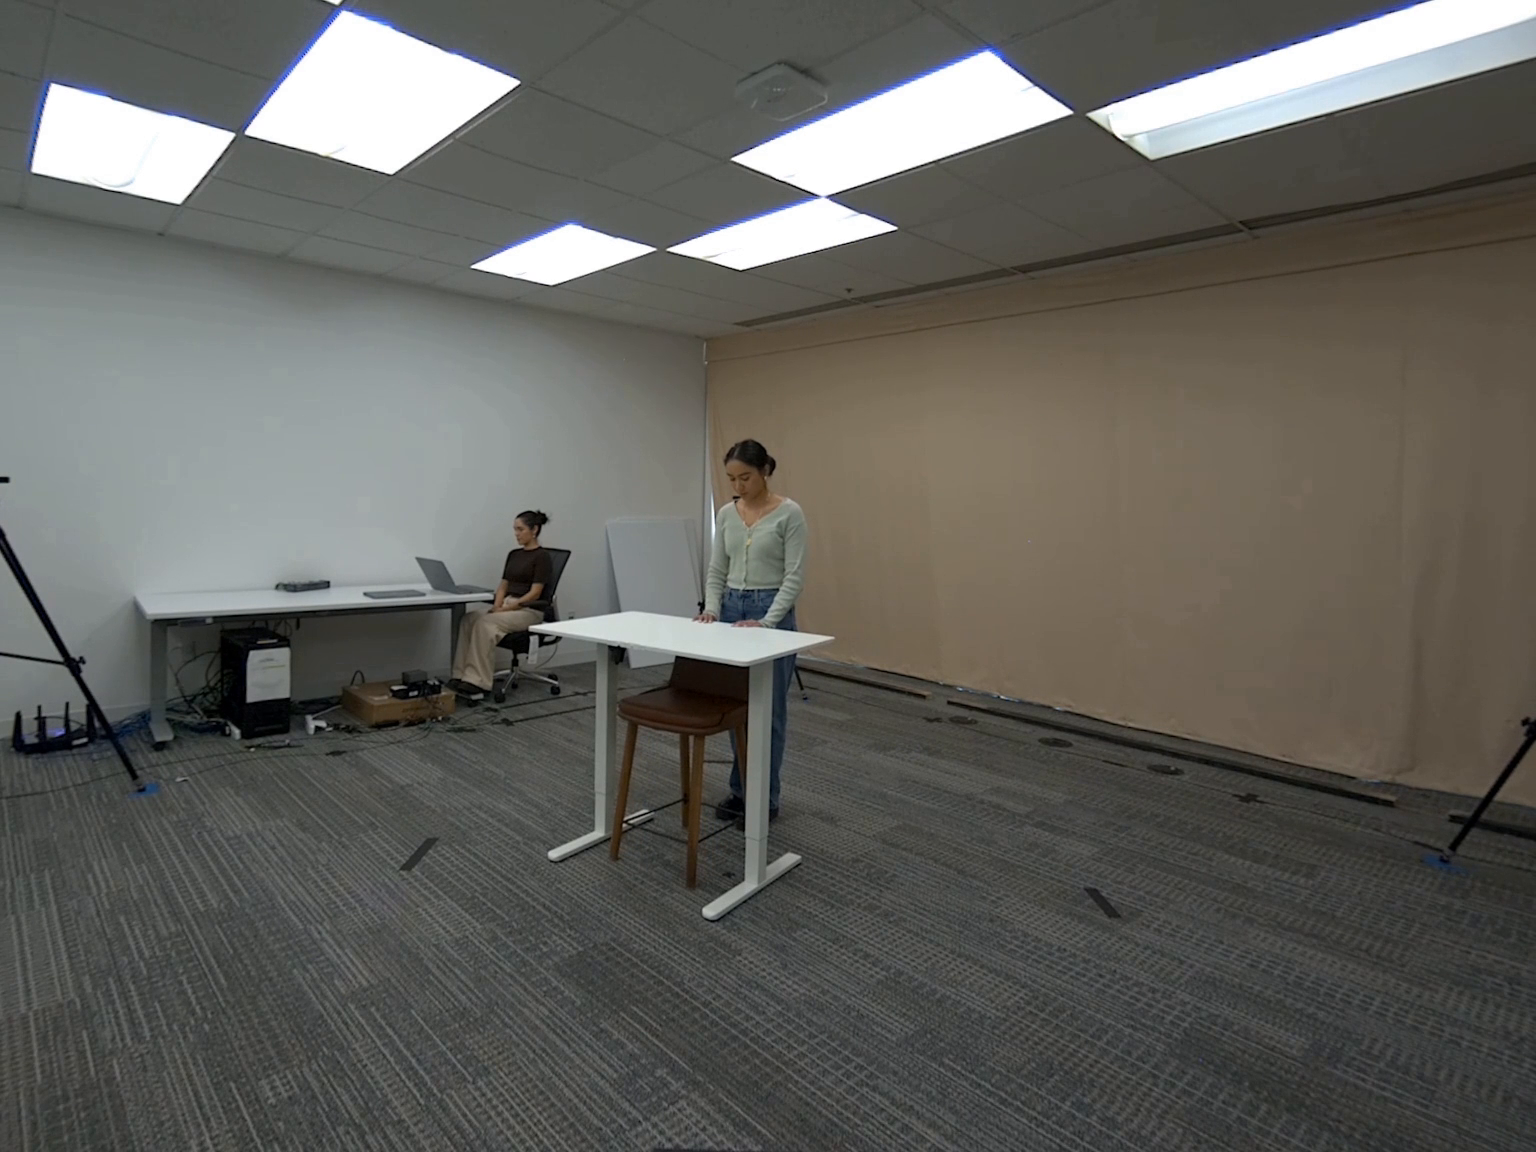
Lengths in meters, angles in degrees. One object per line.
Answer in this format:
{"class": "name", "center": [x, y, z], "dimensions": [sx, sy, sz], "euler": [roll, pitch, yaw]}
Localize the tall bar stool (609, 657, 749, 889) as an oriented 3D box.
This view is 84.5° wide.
{"class": "tall bar stool", "center": [-0.307, 0.653, 3.255], "dimensions": [0.467, 0.889, 0.457], "euler": [3, 2, 34]}
